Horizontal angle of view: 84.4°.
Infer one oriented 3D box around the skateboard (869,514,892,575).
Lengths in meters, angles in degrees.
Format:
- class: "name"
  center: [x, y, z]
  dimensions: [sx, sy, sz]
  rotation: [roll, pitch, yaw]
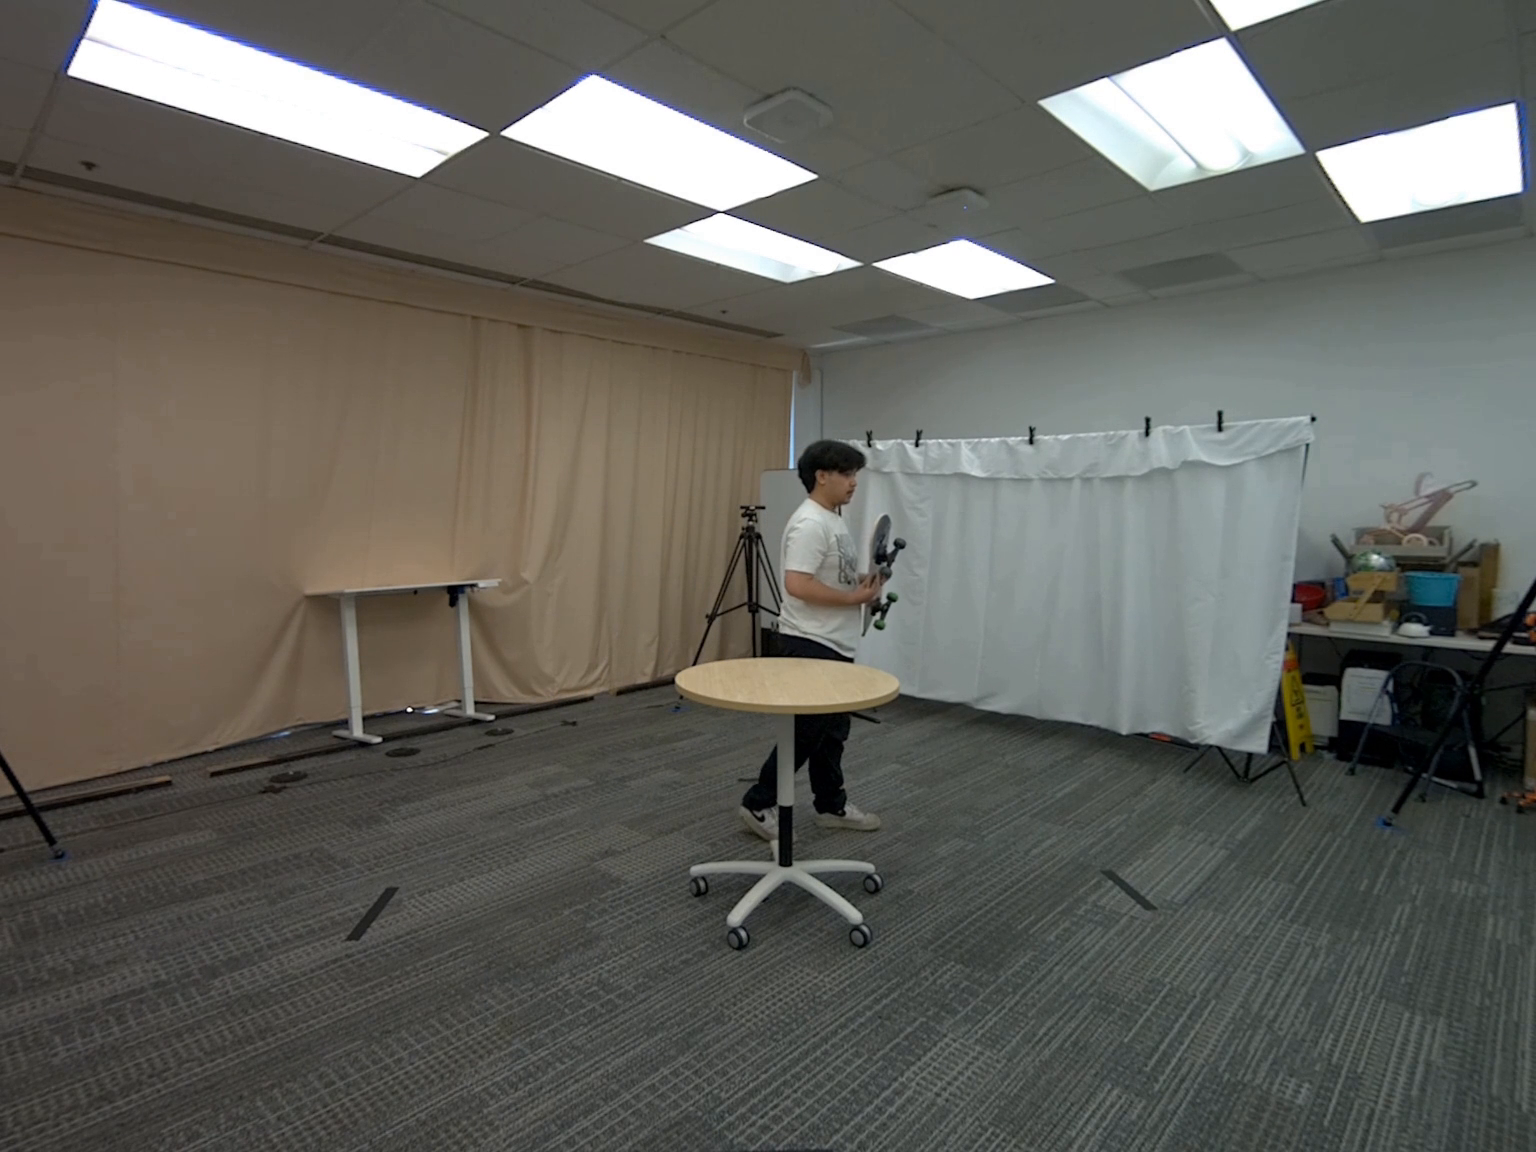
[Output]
- class: "skateboard"
  center: [0.475, 0.030, 3.485]
  dimensions: [0.113, 0.193, 0.768]
  rotation: [21, -31, 17]
